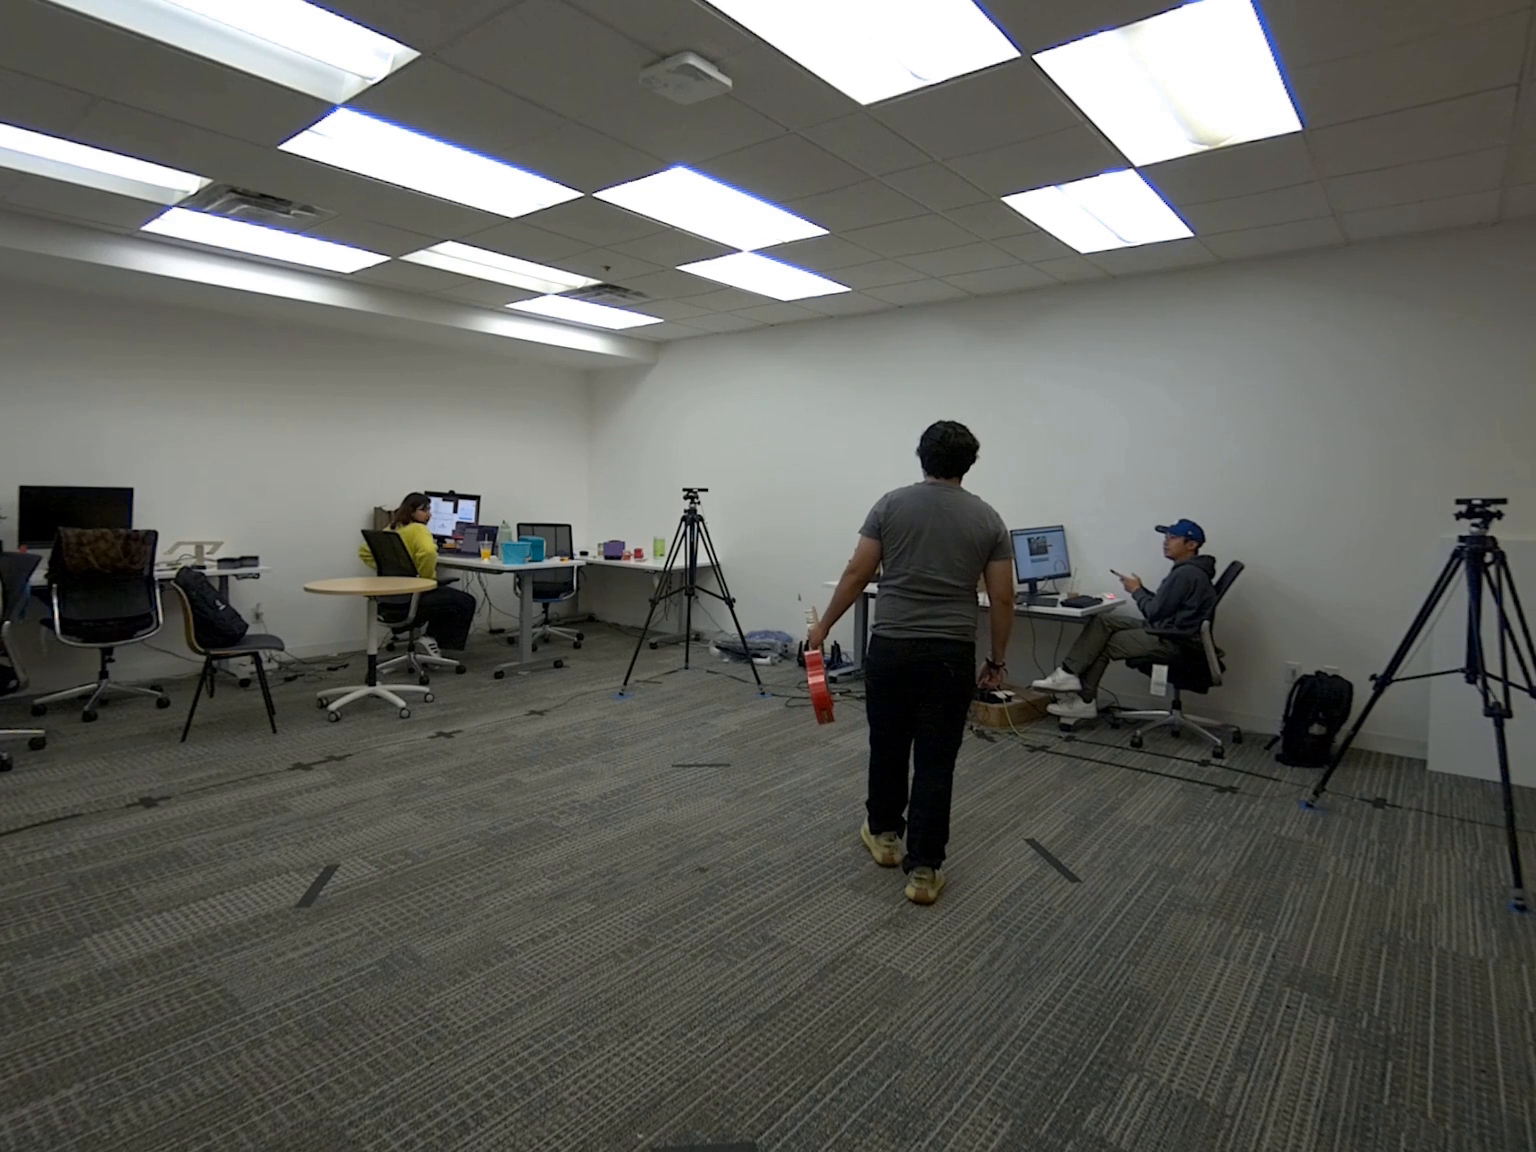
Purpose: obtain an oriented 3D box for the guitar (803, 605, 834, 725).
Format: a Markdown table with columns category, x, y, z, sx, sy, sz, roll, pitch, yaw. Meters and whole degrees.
| category | x | y | z | sx | sy | sz | roll | pitch | yaw |
| --- | --- | --- | --- | --- | --- | --- | --- | --- | --- |
| guitar | 0.184 | 0.331 | 3.203 | 0.071 | 0.186 | 0.513 | -11 | 38 | 4 |
